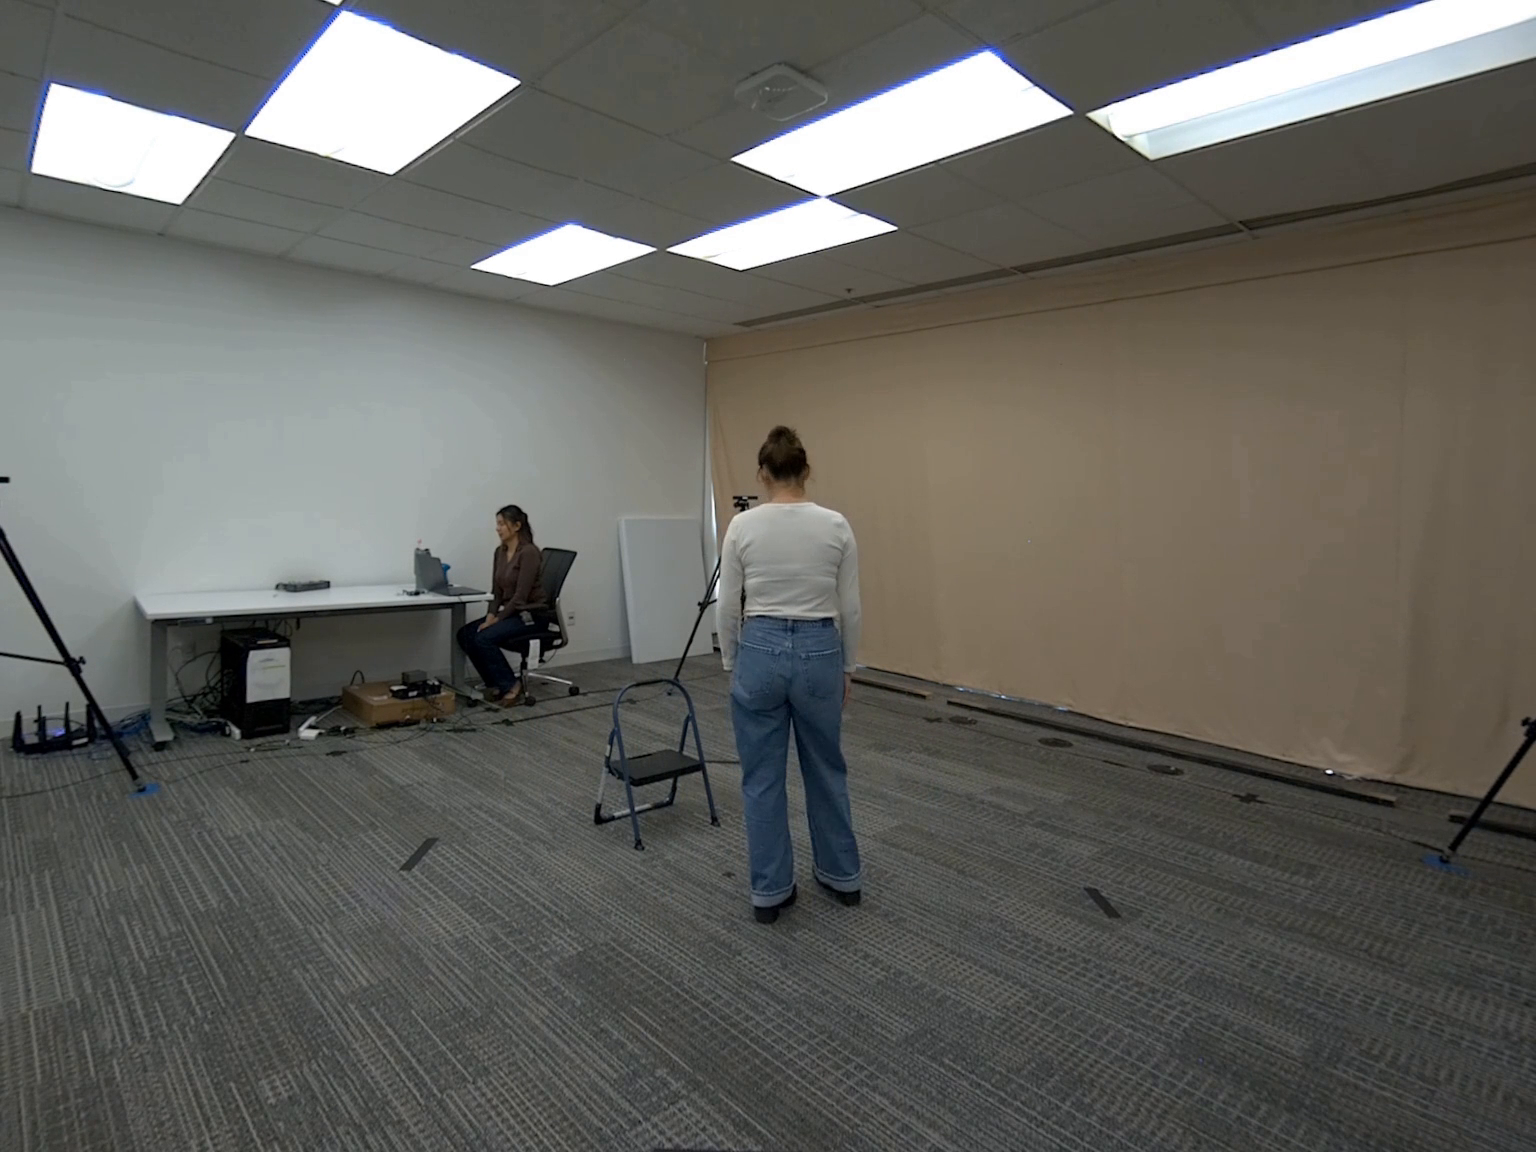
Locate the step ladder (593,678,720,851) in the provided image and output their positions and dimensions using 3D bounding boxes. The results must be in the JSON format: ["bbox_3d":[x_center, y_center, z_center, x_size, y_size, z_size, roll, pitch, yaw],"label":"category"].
[{"bbox_3d":[-0.471,0.754,3.551,0.421,0.605,0.358,-2,4,-44],"label":"step ladder"}]
